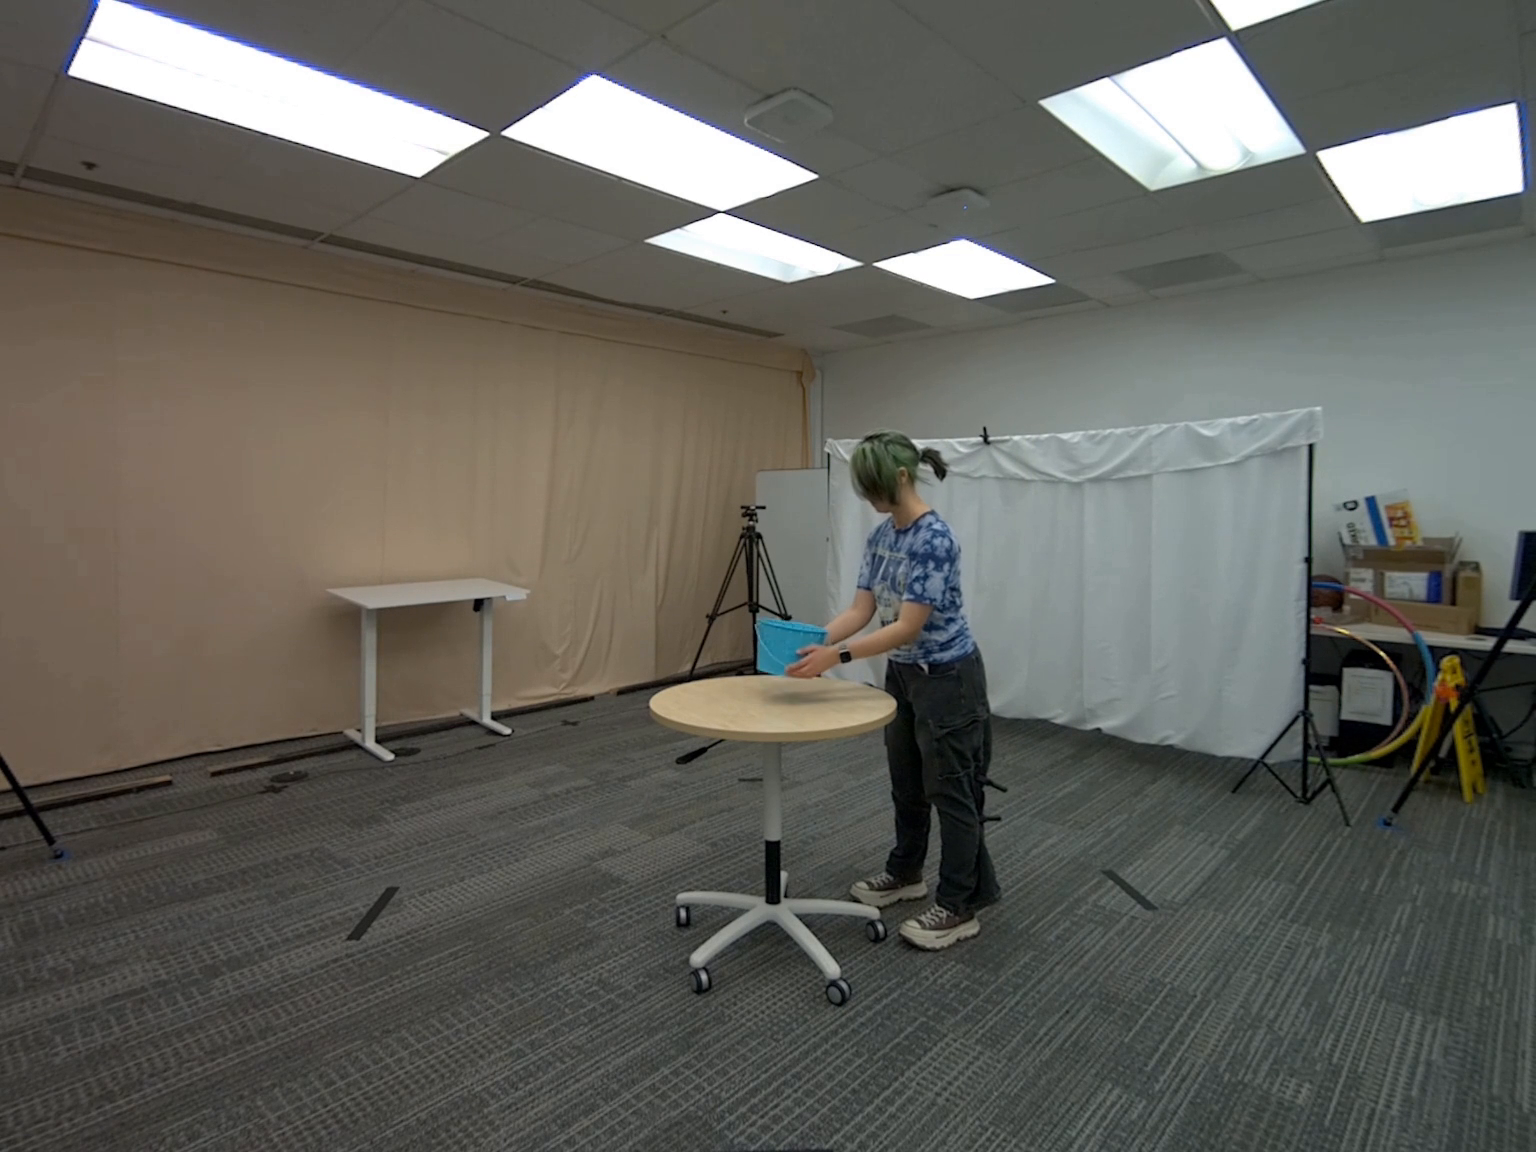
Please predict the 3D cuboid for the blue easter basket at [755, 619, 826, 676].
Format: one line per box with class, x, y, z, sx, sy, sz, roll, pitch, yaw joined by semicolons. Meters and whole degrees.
blue easter basket;0.081;0.229;2.636;0.243;0.156;0.244;9;1;-2
